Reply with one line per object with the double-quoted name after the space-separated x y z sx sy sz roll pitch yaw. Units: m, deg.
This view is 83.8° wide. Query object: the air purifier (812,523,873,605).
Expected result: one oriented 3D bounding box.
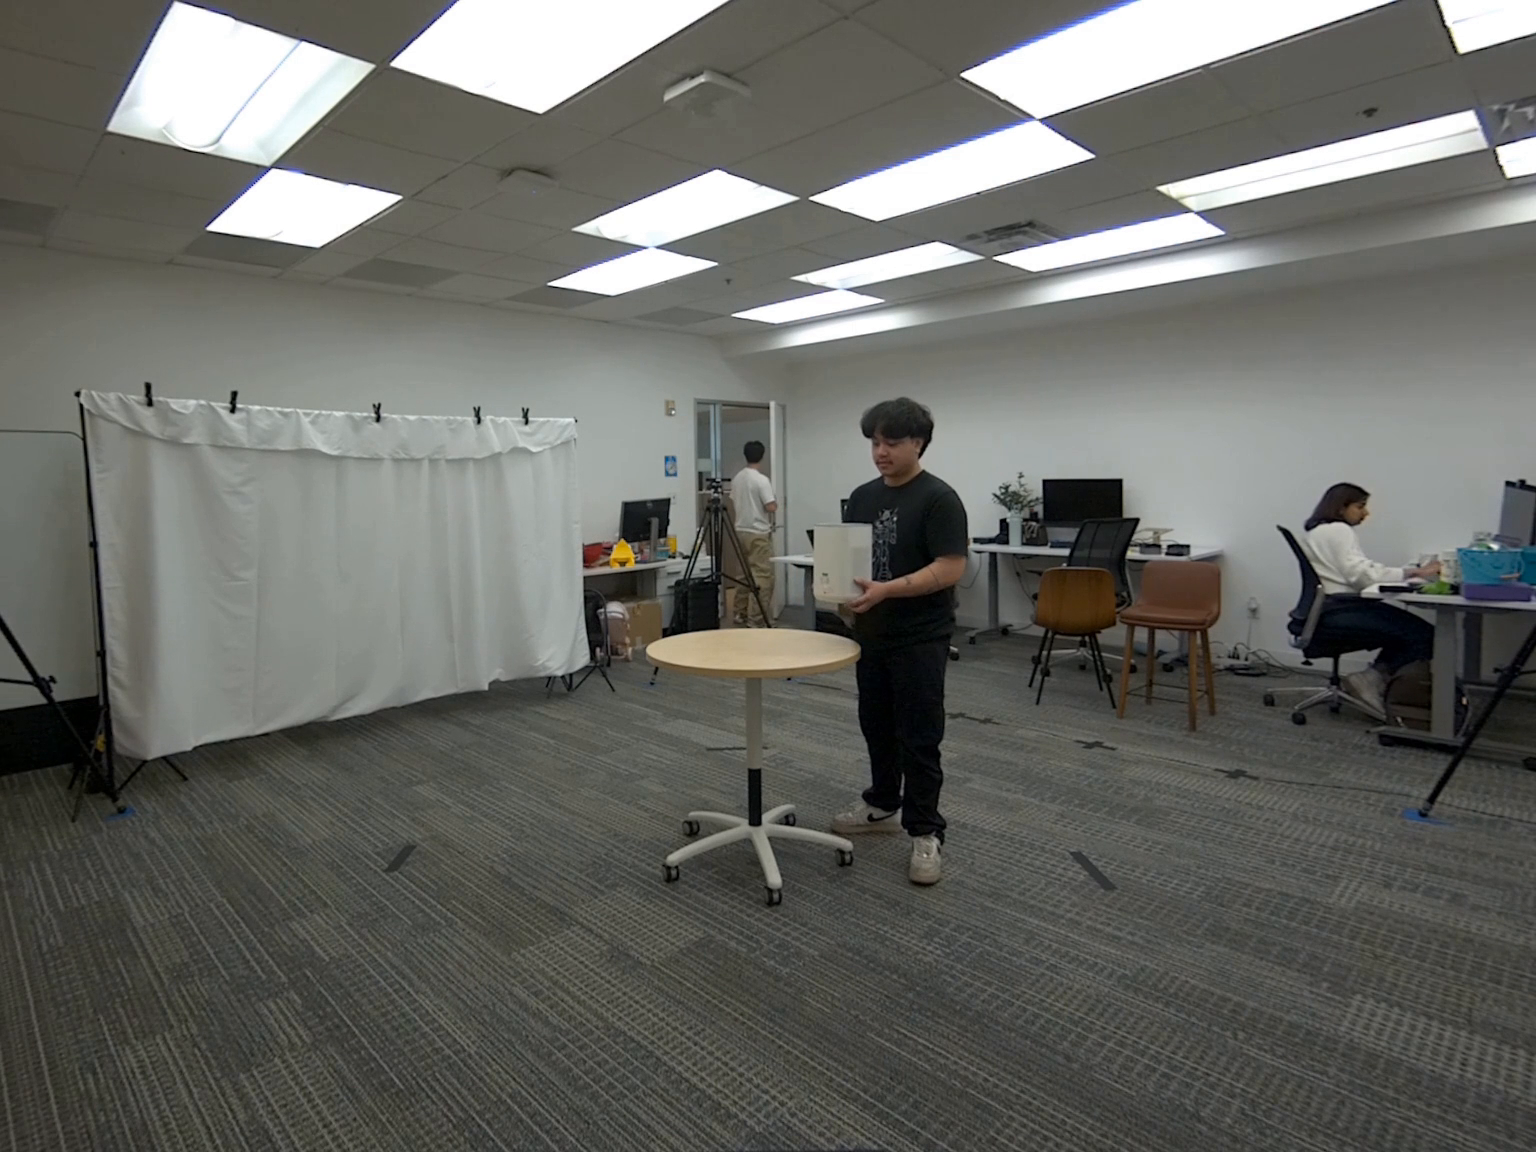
0.269 -0.046 2.957 0.166 0.265 0.176 0 3 -44 "air purifier"
